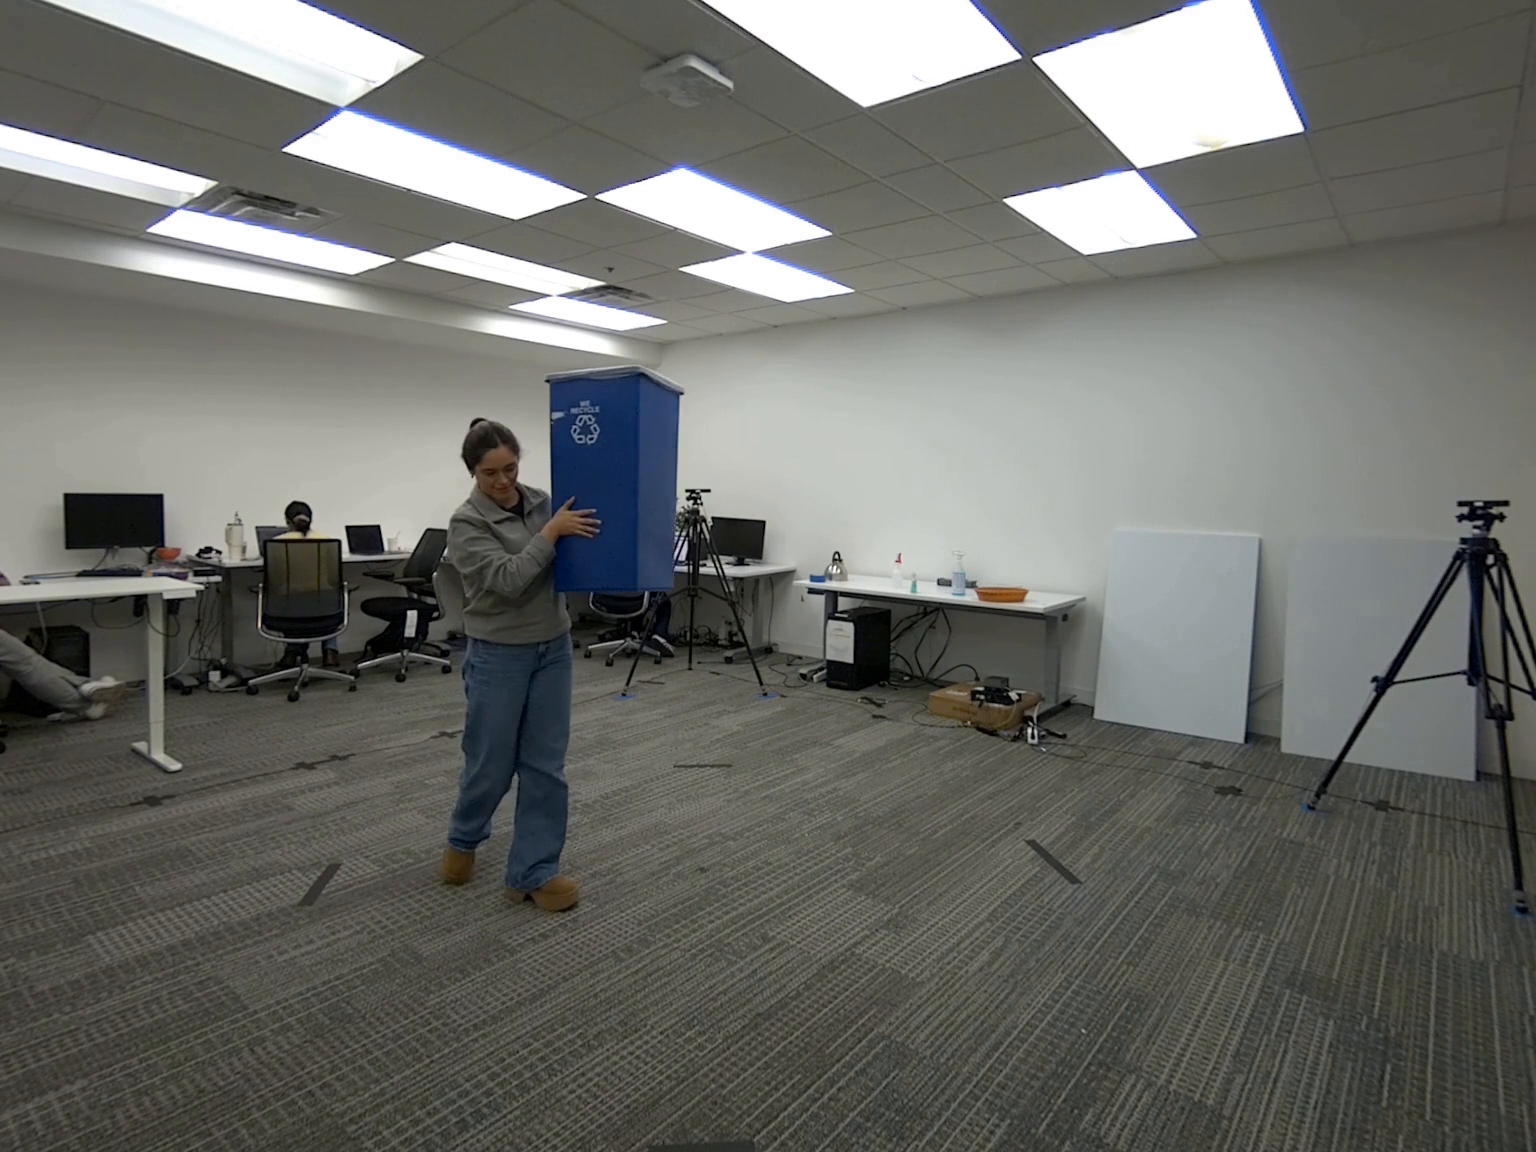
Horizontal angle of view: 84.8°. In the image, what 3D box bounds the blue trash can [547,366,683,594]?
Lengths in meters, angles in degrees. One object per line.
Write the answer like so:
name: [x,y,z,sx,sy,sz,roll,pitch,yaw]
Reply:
blue trash can: [-0.525,-0.310,2.872,0.381,0.716,0.369,-2,-3,19]
